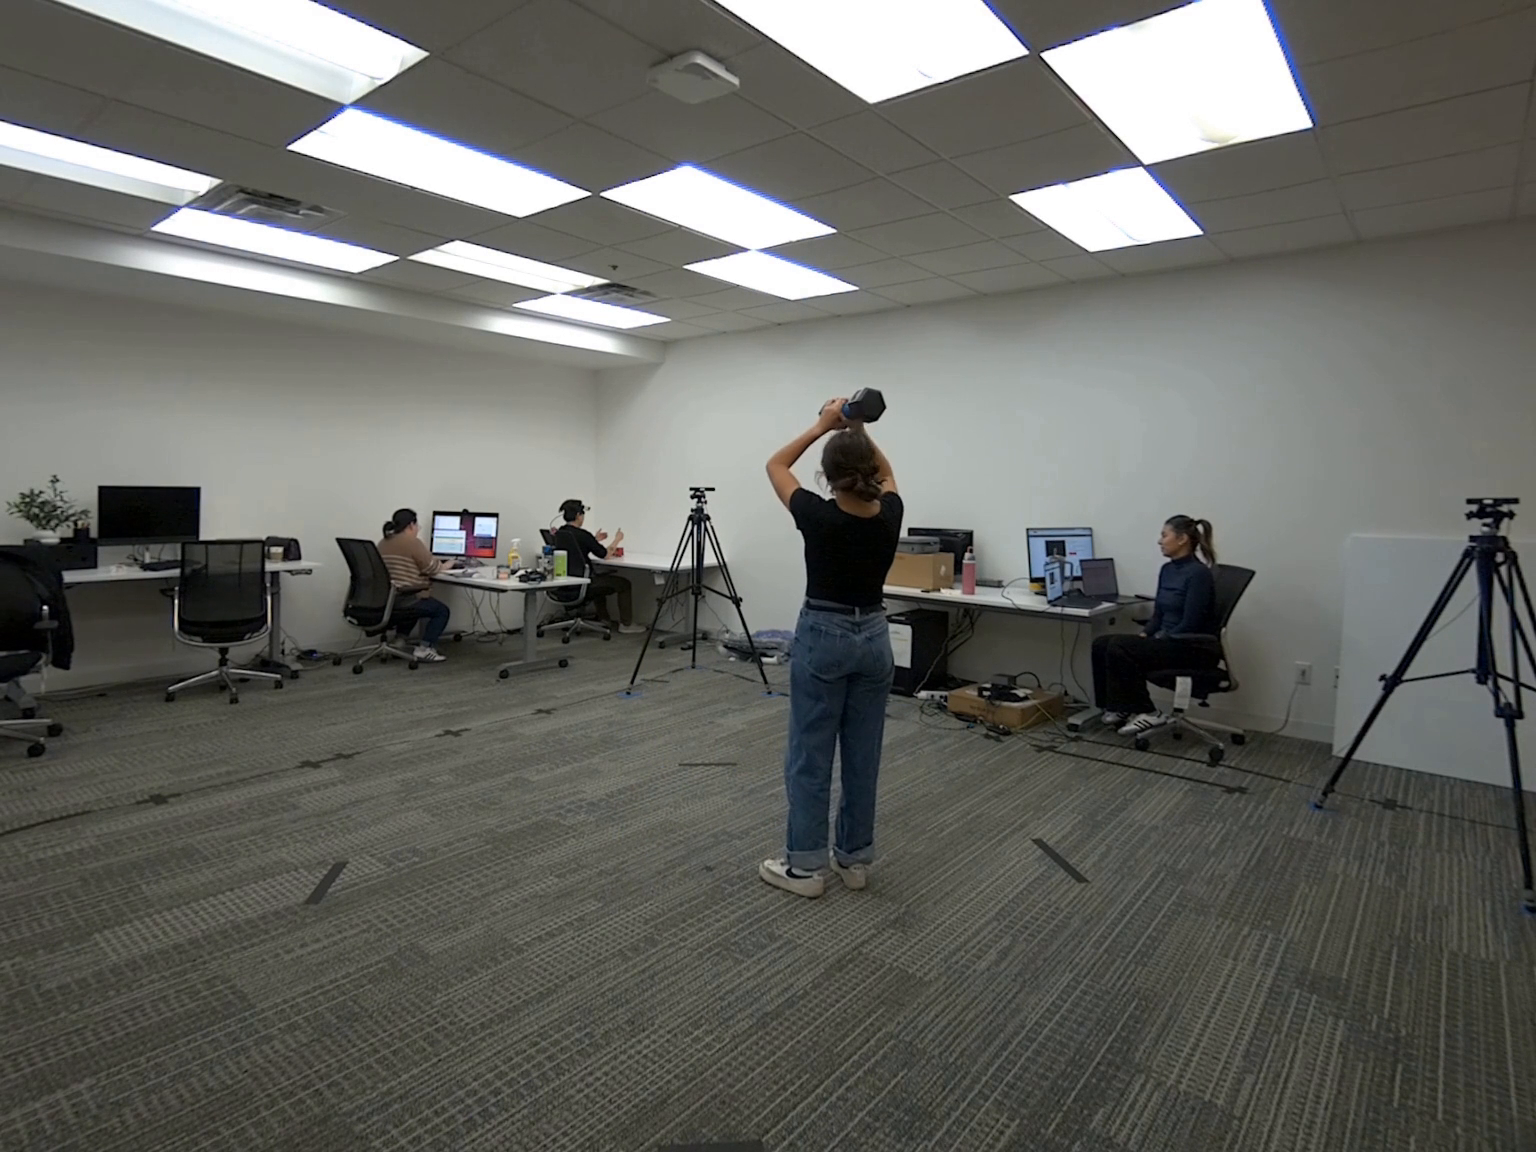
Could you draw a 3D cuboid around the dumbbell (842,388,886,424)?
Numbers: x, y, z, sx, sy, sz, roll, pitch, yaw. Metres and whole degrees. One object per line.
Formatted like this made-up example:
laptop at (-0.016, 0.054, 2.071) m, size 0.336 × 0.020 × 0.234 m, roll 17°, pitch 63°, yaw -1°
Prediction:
dumbbell at (0.287, -0.594, 3.034) m, size 0.108 × 0.121 × 0.300 m, roll -27°, pitch 11°, yaw -20°
